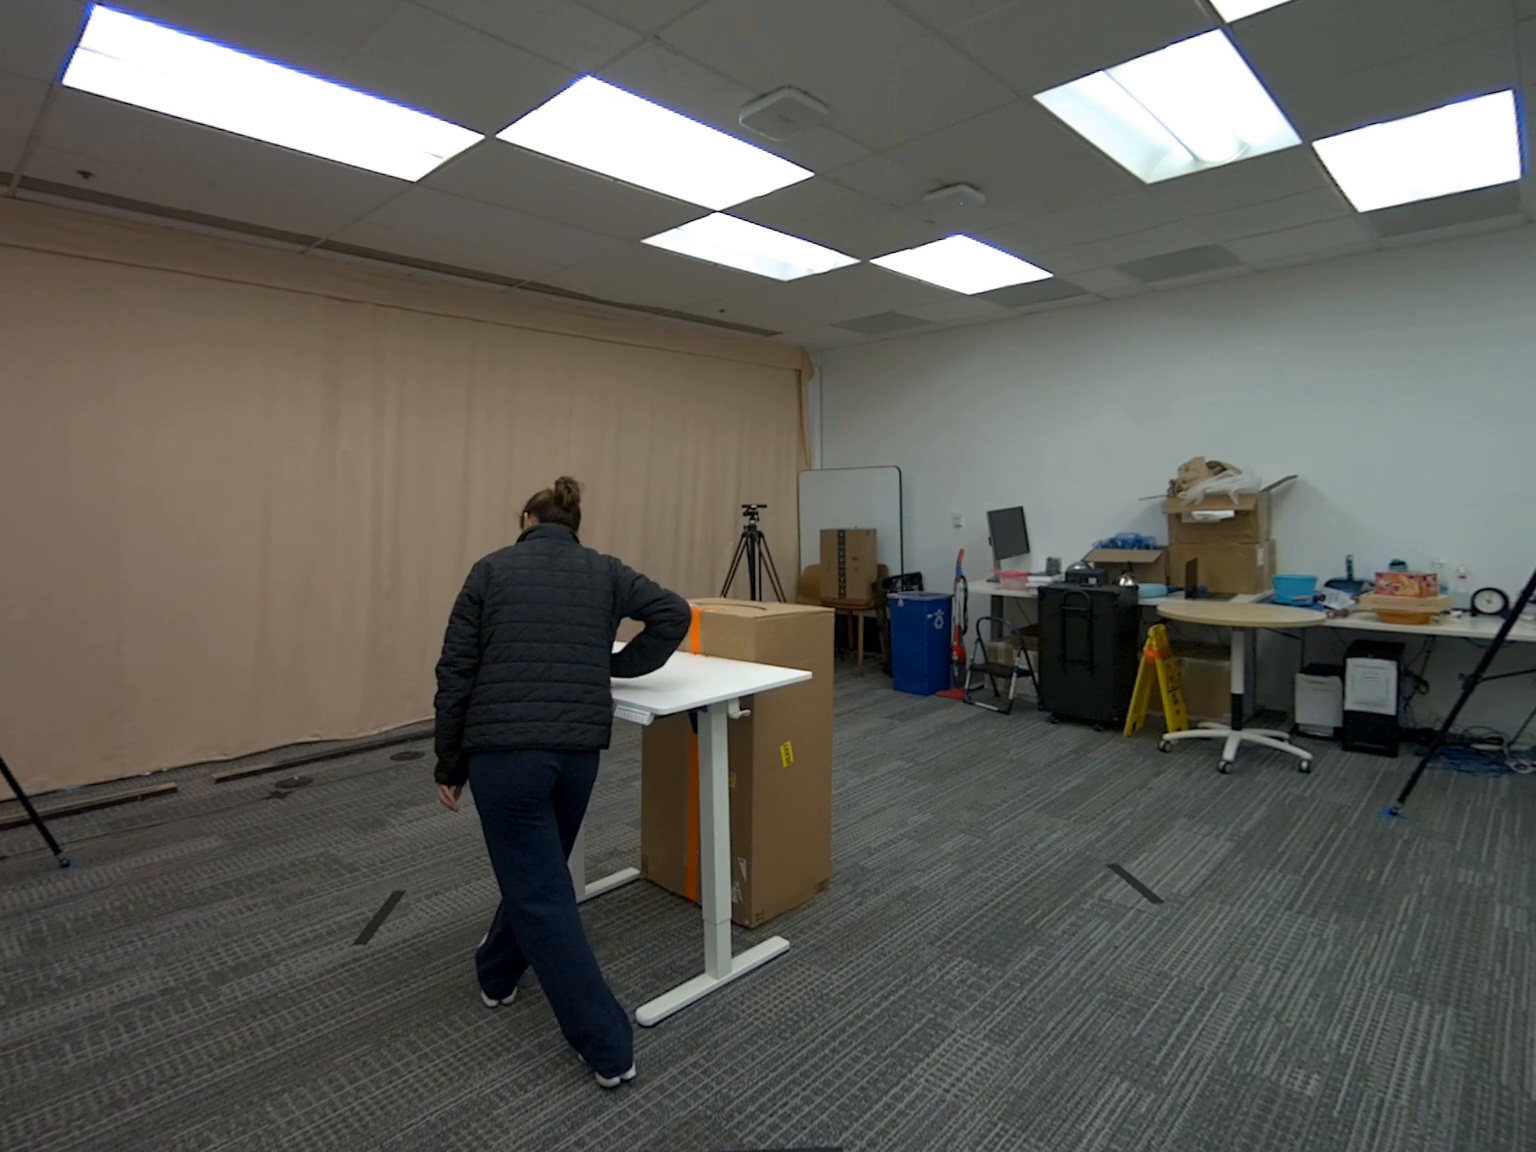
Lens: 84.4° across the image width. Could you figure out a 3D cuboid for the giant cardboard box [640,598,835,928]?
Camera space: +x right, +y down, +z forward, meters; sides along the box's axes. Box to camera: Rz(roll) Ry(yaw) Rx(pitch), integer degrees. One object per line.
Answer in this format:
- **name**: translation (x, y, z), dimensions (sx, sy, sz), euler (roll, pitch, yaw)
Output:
- **giant cardboard box**: translation (-0.107, 0.618, 3.077), dimensions (0.433, 1.025, 0.603), euler (-2, 3, -45)
